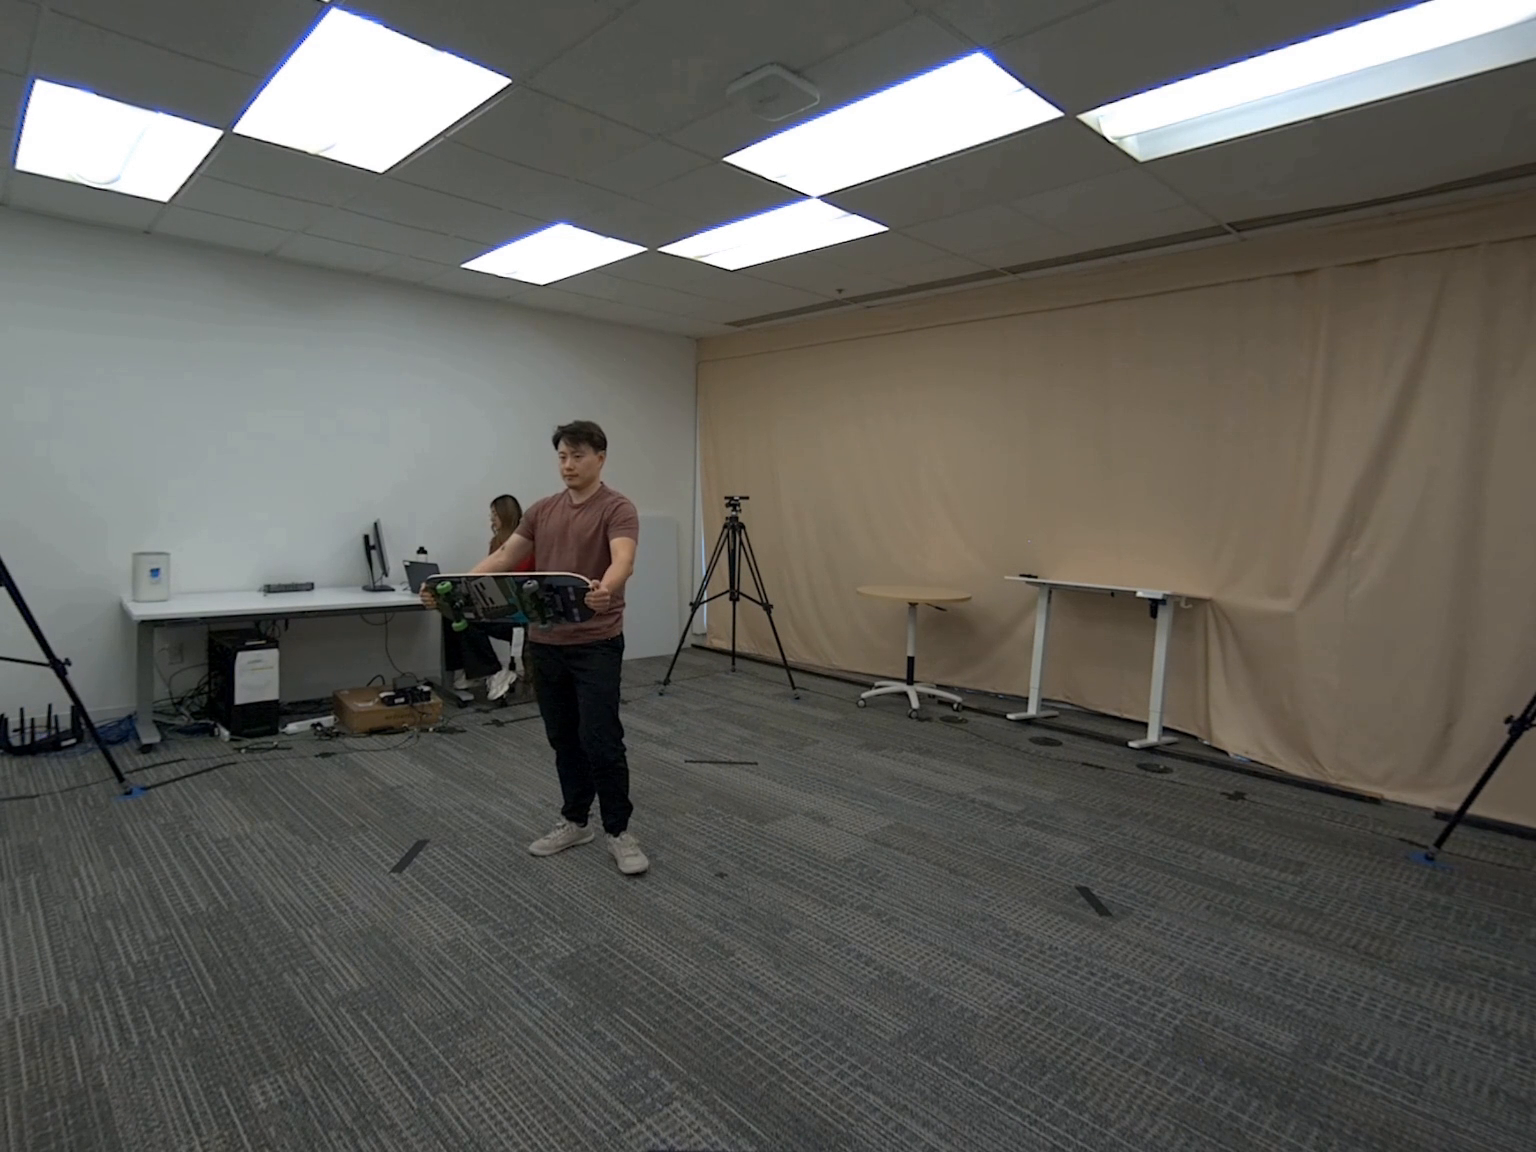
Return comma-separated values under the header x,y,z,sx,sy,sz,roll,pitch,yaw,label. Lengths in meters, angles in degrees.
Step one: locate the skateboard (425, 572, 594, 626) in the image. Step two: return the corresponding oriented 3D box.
x,y,z,sx,sy,sz,roll,pitch,yaw,label
-0.933,0.094,2.912,0.801,0.190,0.110,-1,26,29,skateboard
